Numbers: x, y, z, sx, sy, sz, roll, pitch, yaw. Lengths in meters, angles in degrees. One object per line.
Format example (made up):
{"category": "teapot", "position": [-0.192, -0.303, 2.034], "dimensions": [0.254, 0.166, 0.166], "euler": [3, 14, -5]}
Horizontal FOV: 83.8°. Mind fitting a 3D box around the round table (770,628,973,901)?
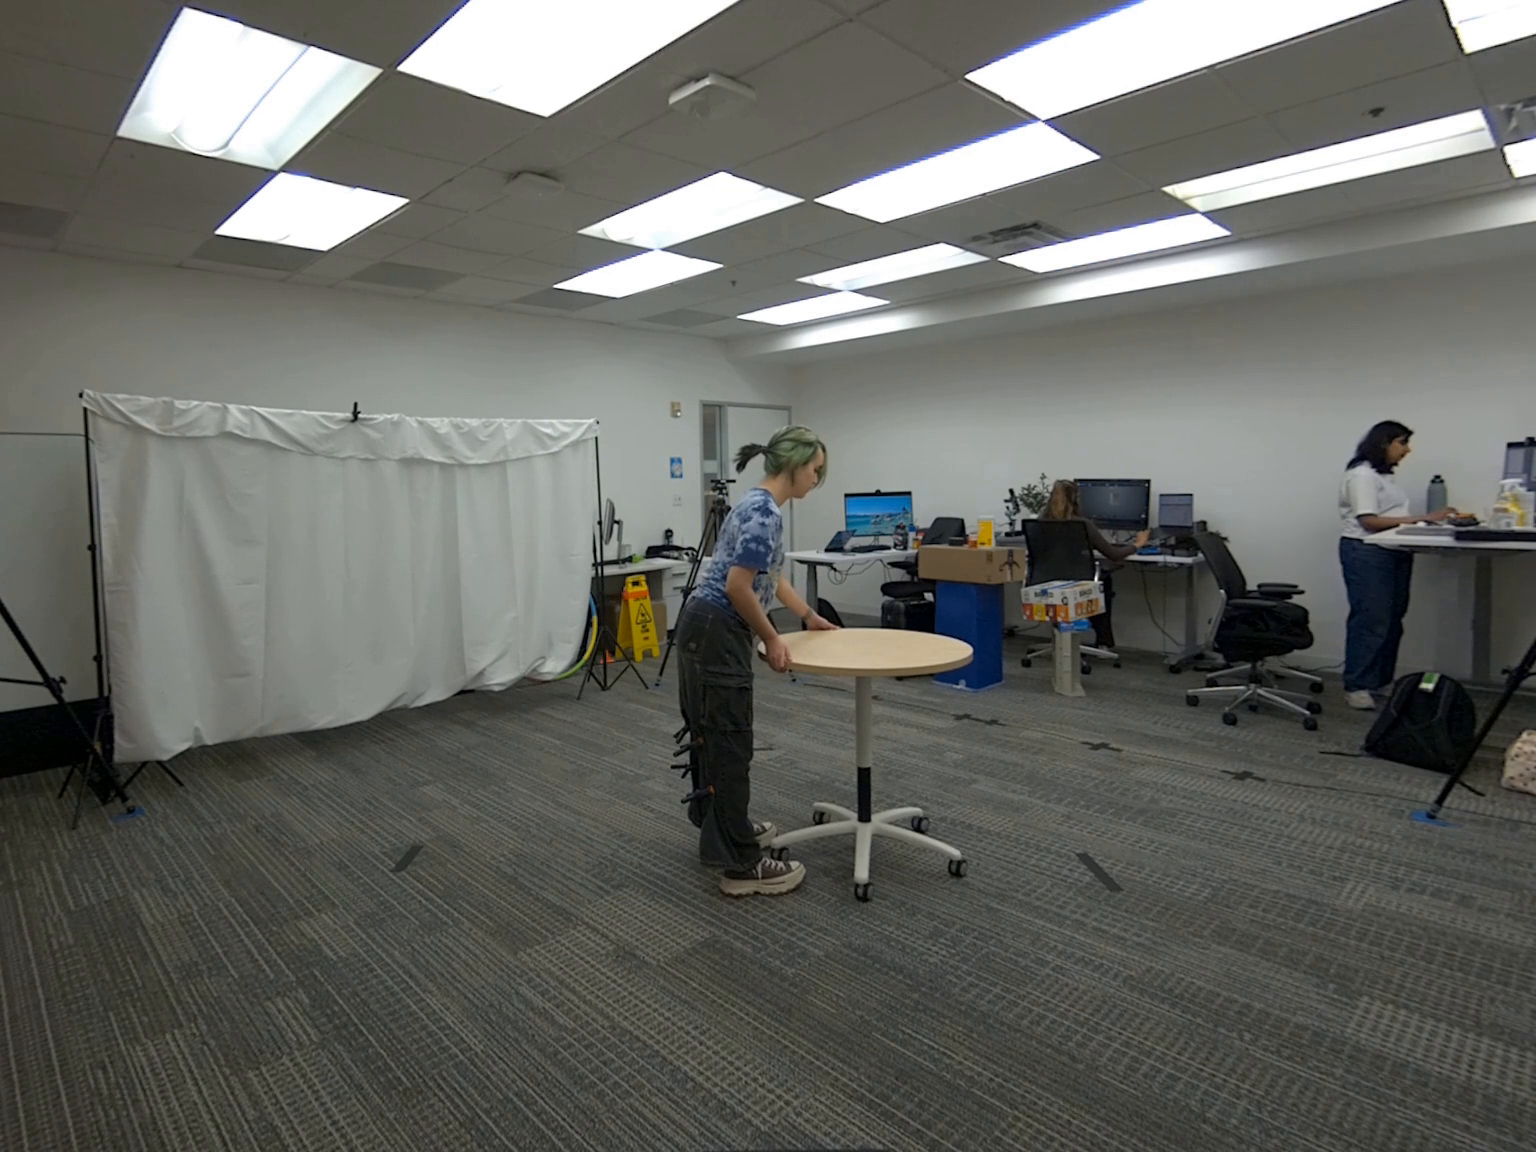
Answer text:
{"category": "round table", "position": [0.356, 0.647, 3.124], "dimensions": [0.763, 0.791, 0.768], "euler": [-1, 4, -2]}
